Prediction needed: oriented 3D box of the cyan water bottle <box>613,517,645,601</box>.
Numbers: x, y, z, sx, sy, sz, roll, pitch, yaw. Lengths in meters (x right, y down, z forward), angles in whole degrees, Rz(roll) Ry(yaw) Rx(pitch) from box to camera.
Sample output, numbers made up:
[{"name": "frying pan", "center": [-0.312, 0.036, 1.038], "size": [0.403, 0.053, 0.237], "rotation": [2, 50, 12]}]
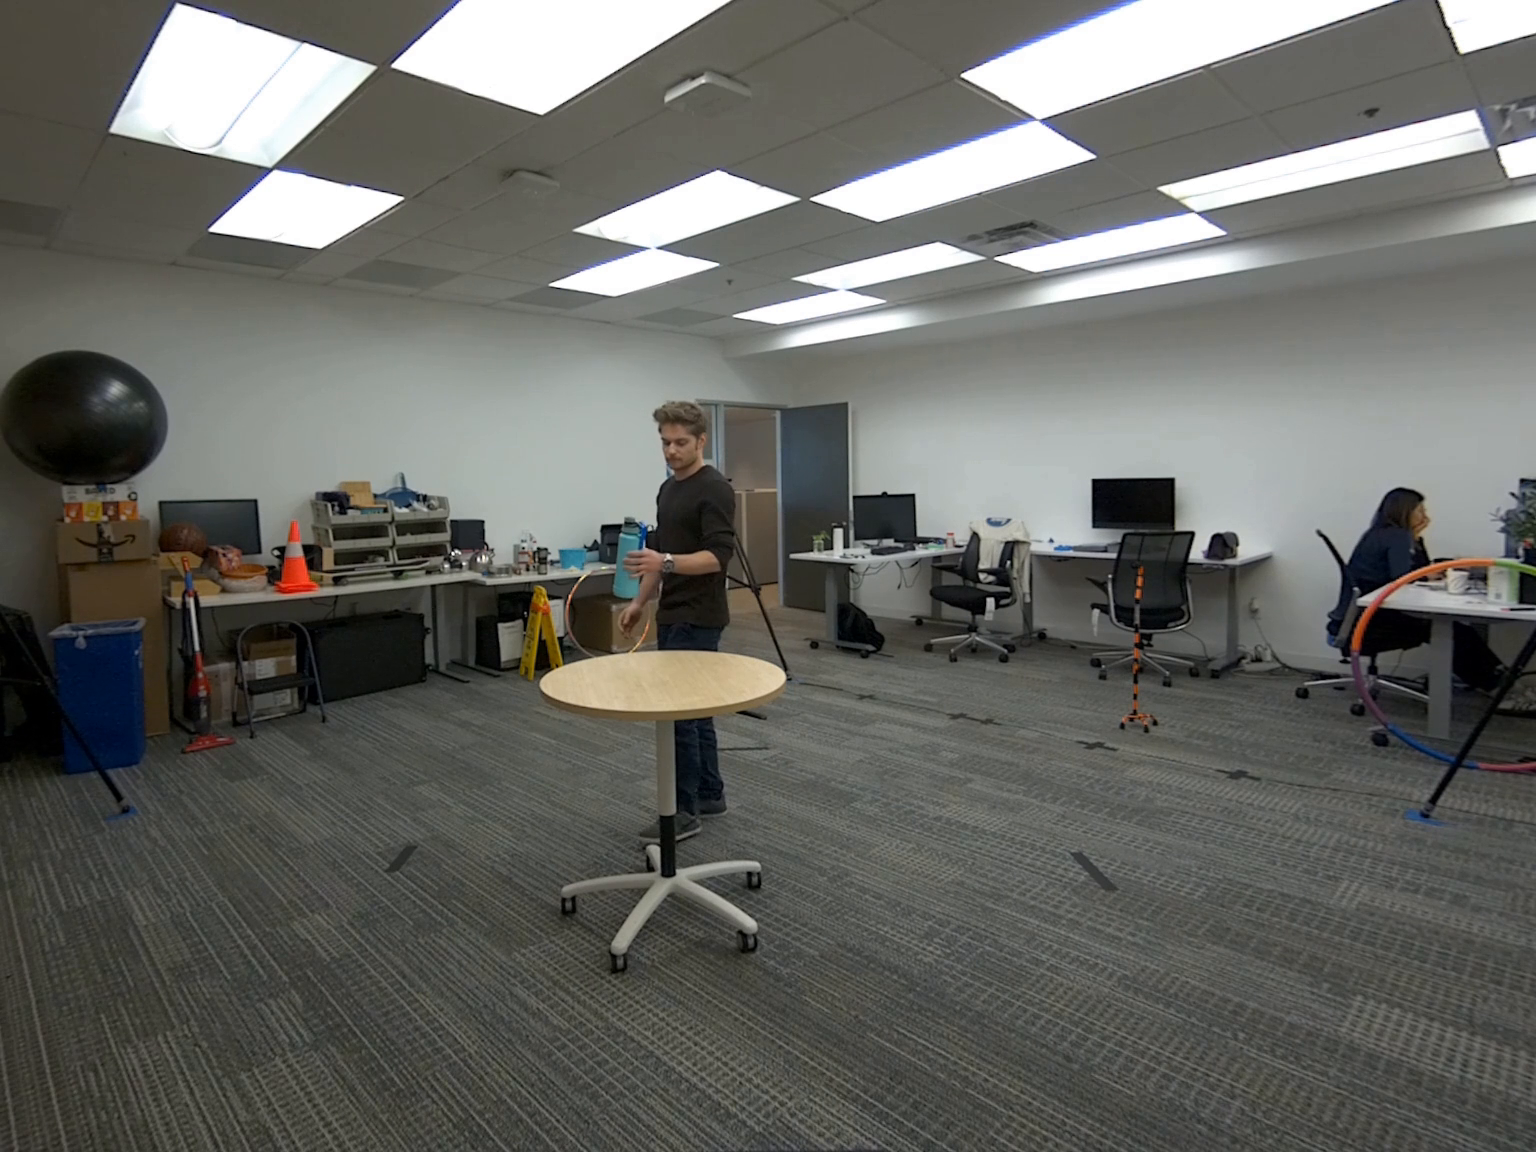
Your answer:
[{"name": "cyan water bottle", "center": [-0.493, -0.069, 3.057], "size": [0.092, 0.281, 0.093], "rotation": [9, 10, -4]}]
